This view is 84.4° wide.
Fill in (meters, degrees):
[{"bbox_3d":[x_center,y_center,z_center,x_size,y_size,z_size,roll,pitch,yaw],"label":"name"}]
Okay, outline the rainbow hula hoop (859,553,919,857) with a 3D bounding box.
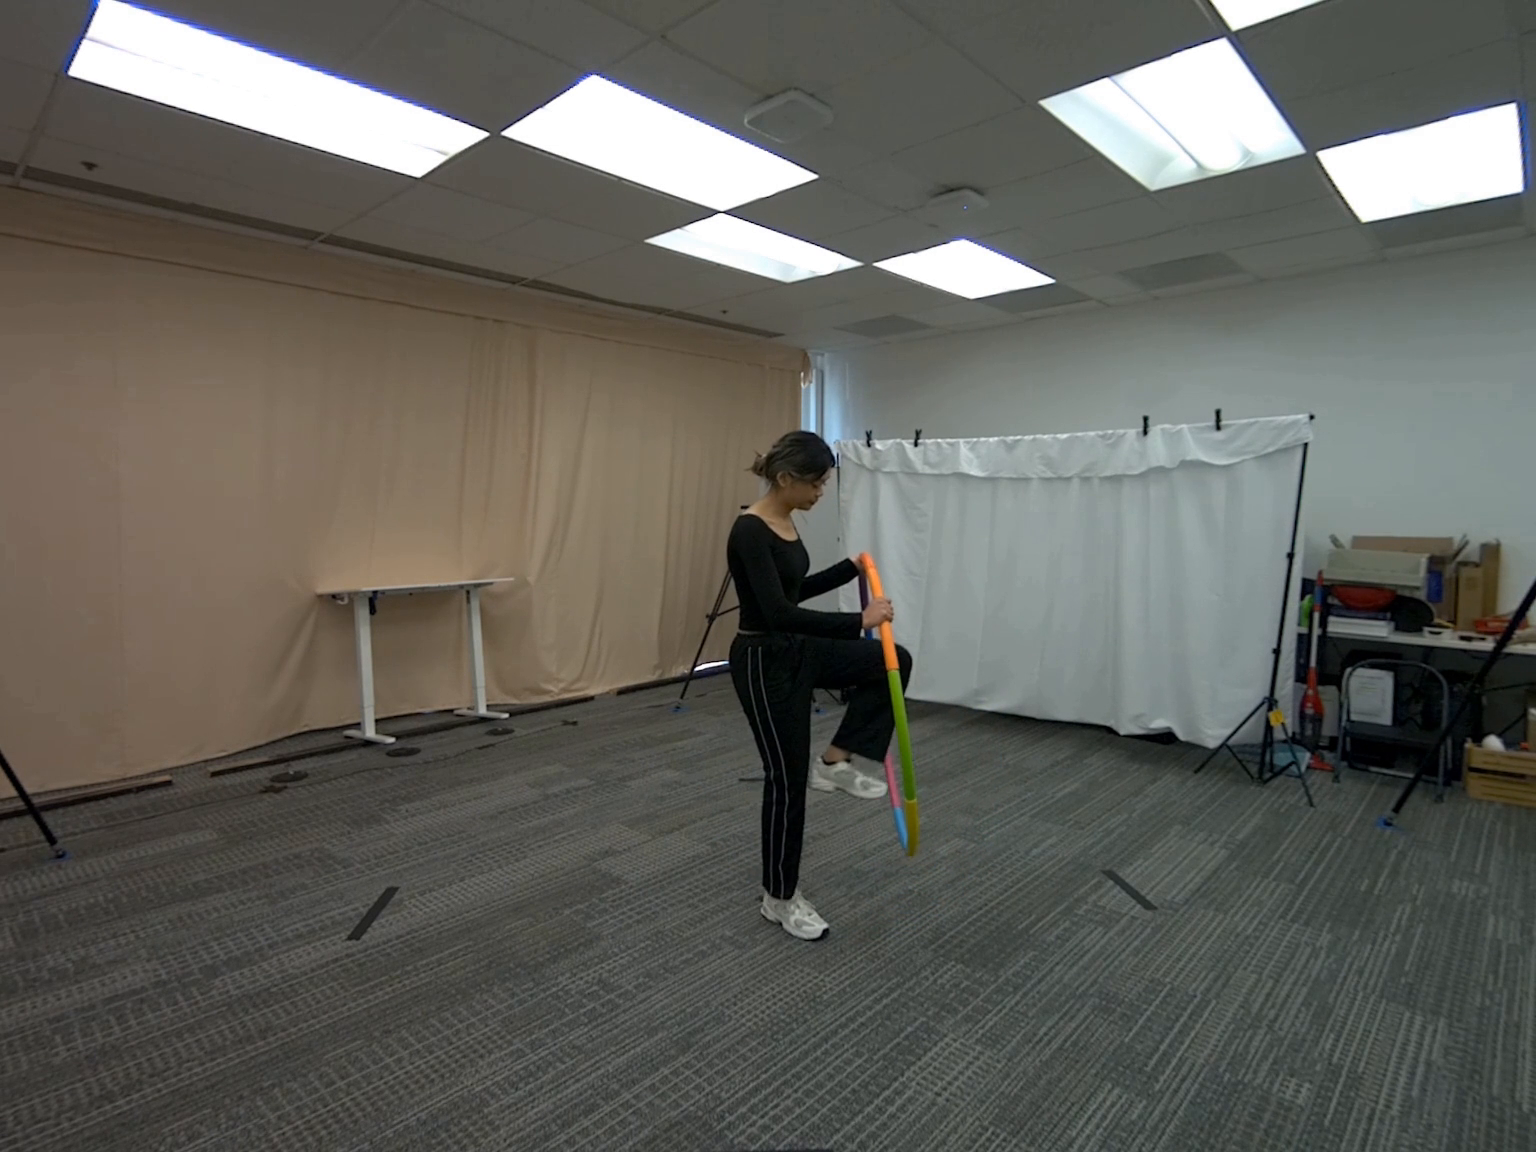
[{"bbox_3d":[0.404,0.424,2.827,0.036,0.977,0.974,-8,3,5],"label":"rainbow hula hoop"}]
